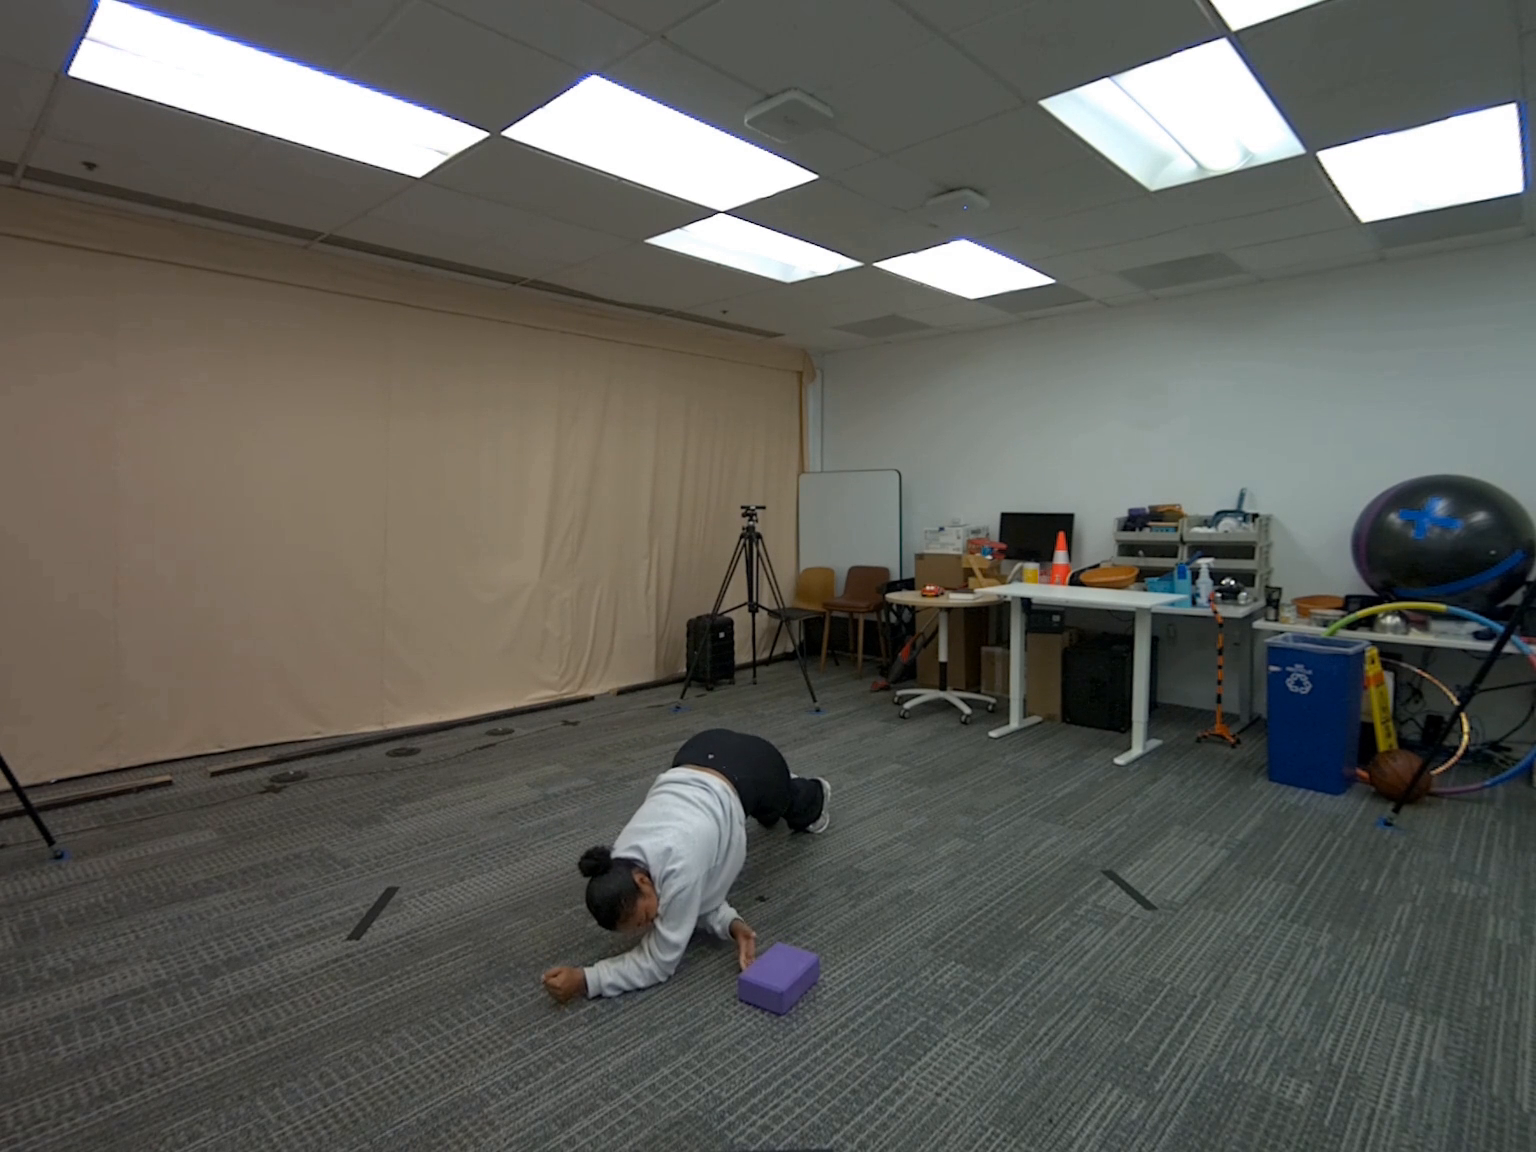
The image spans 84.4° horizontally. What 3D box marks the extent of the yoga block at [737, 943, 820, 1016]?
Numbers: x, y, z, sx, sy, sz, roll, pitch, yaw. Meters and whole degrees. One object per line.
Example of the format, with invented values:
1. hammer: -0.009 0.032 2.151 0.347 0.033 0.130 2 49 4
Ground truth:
1. yoga block: 0.037 1.146 2.411 0.153 0.076 0.223 3 5 30
